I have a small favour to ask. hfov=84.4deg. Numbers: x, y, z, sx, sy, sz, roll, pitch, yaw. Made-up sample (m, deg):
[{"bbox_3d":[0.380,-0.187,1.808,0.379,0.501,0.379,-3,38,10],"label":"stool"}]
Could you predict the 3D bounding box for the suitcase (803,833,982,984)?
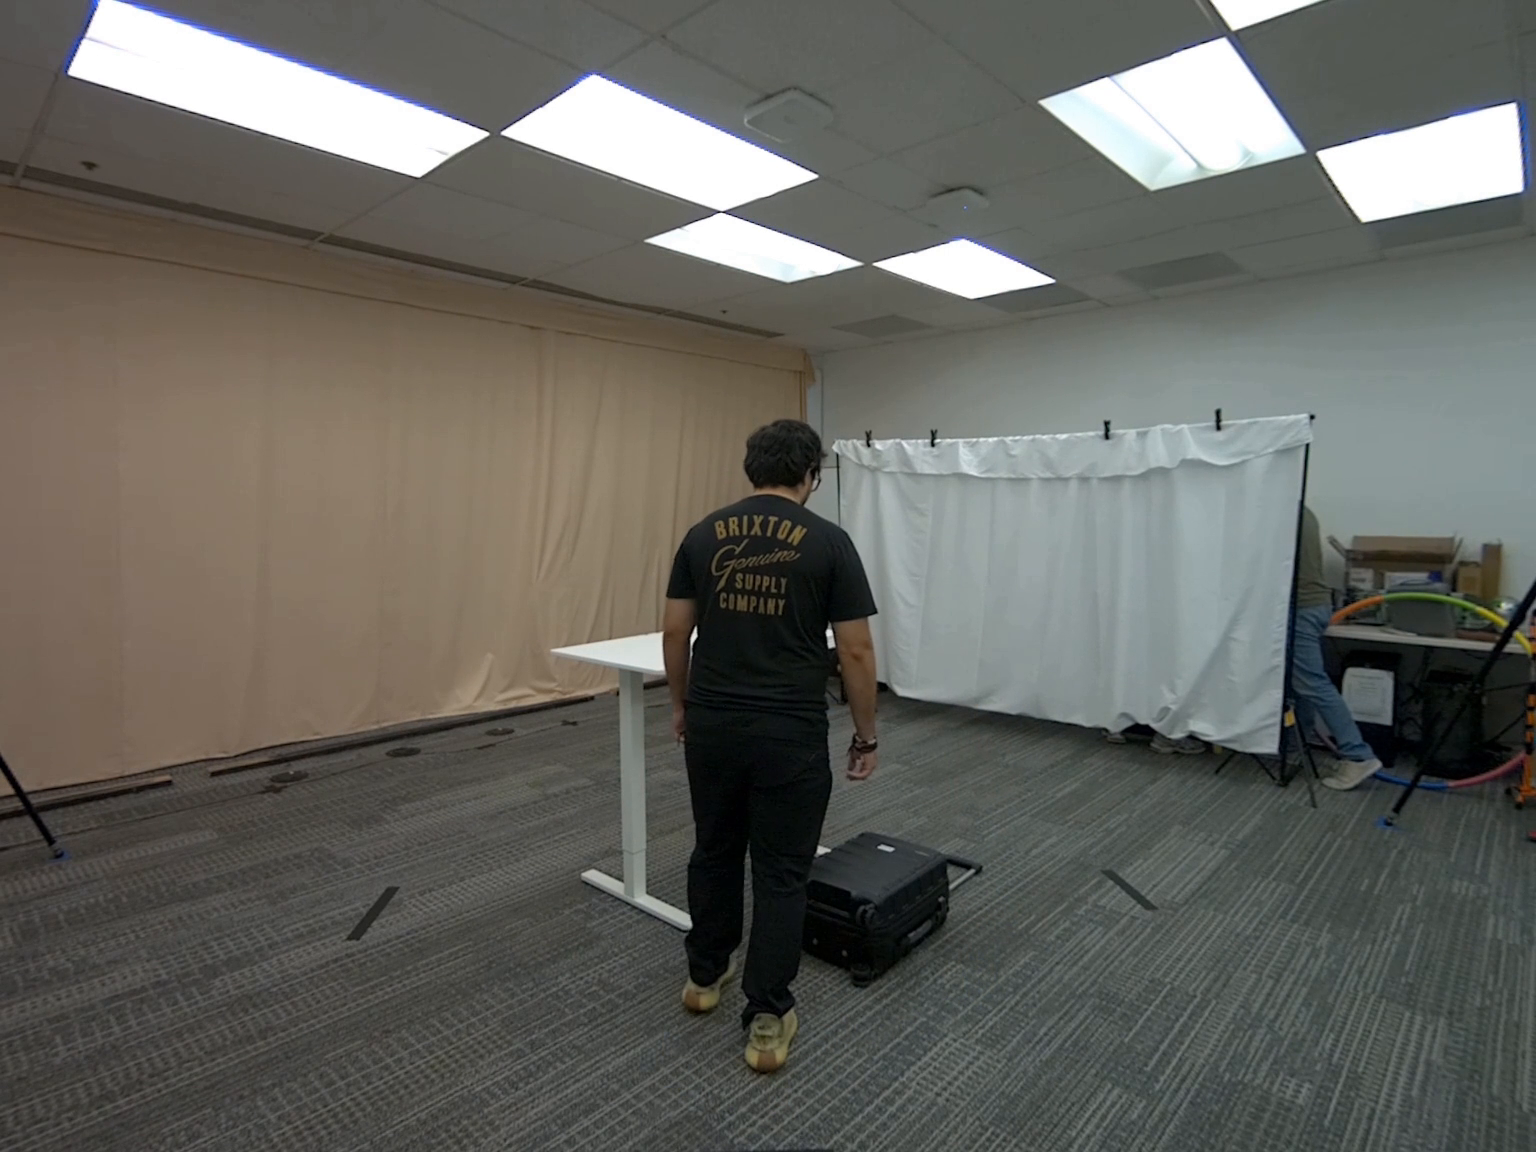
[{"bbox_3d":[0.458,1.027,2.873,0.396,0.256,0.950,2,6,39],"label":"suitcase"}]
